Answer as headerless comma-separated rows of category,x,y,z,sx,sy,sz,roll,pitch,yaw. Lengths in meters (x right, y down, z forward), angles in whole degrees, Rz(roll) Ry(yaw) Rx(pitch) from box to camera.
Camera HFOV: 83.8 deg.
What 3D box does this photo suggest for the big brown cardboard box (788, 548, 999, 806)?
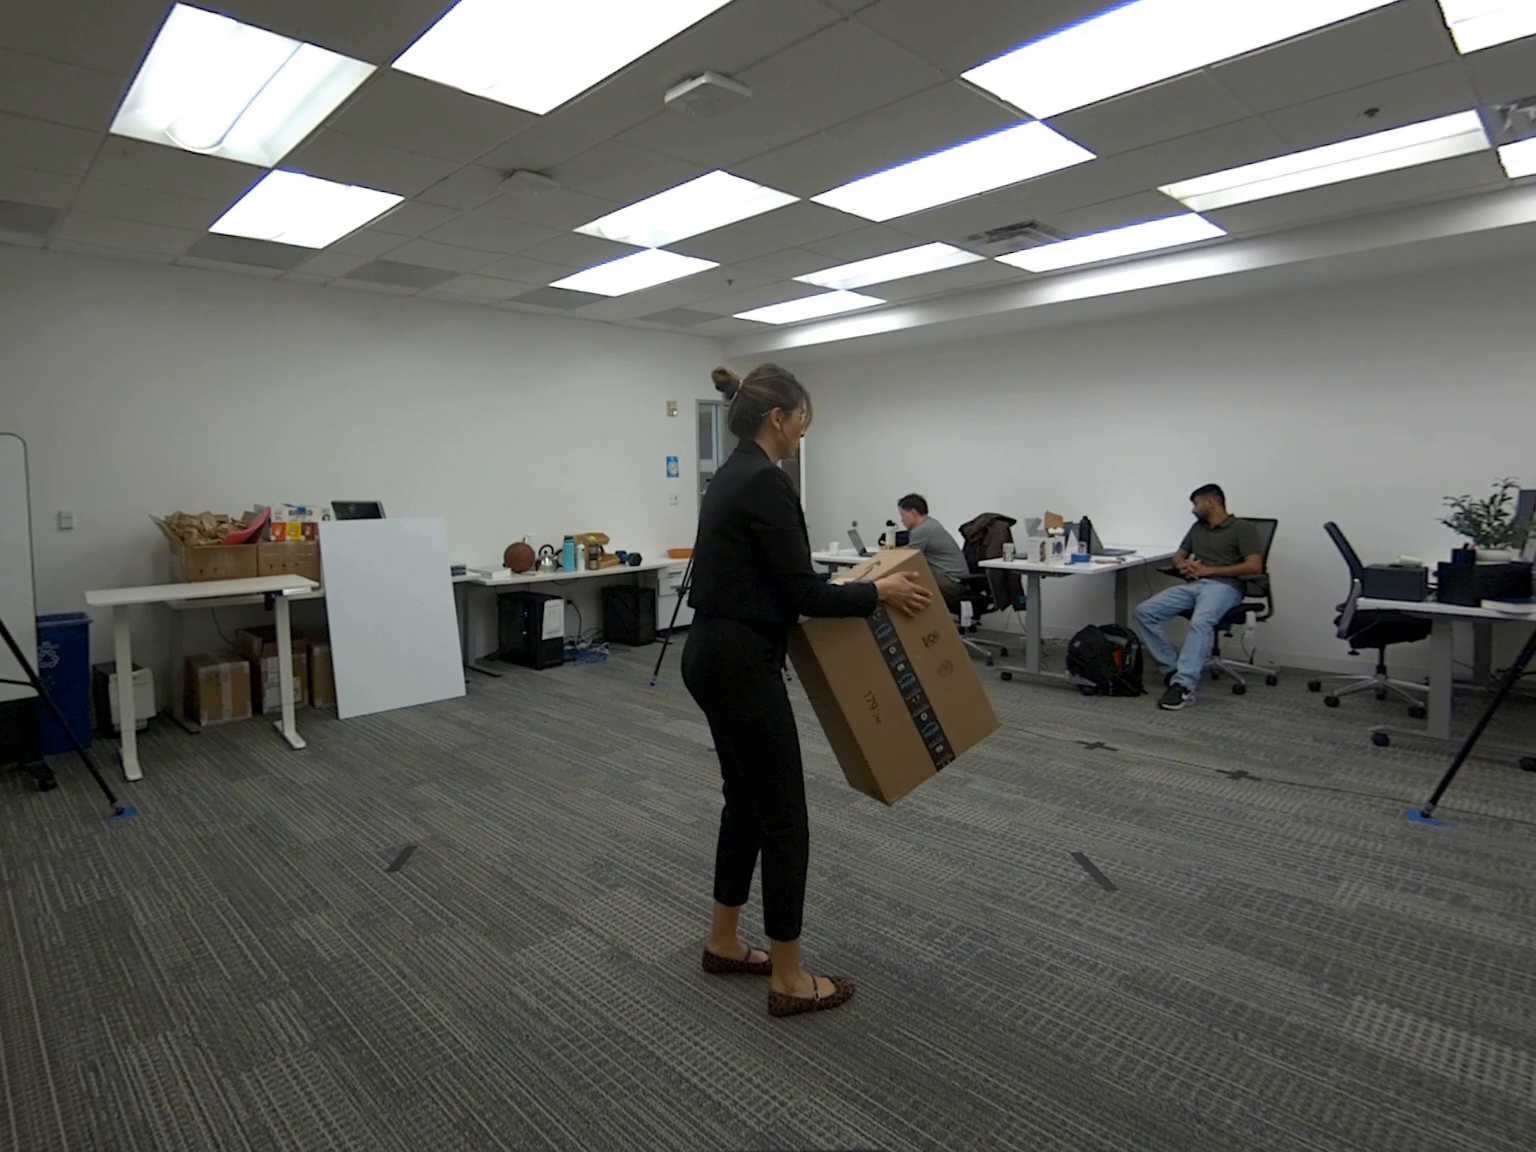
big brown cardboard box,0.332,0.278,2.424,0.414,0.583,0.237,-29,9,-19
